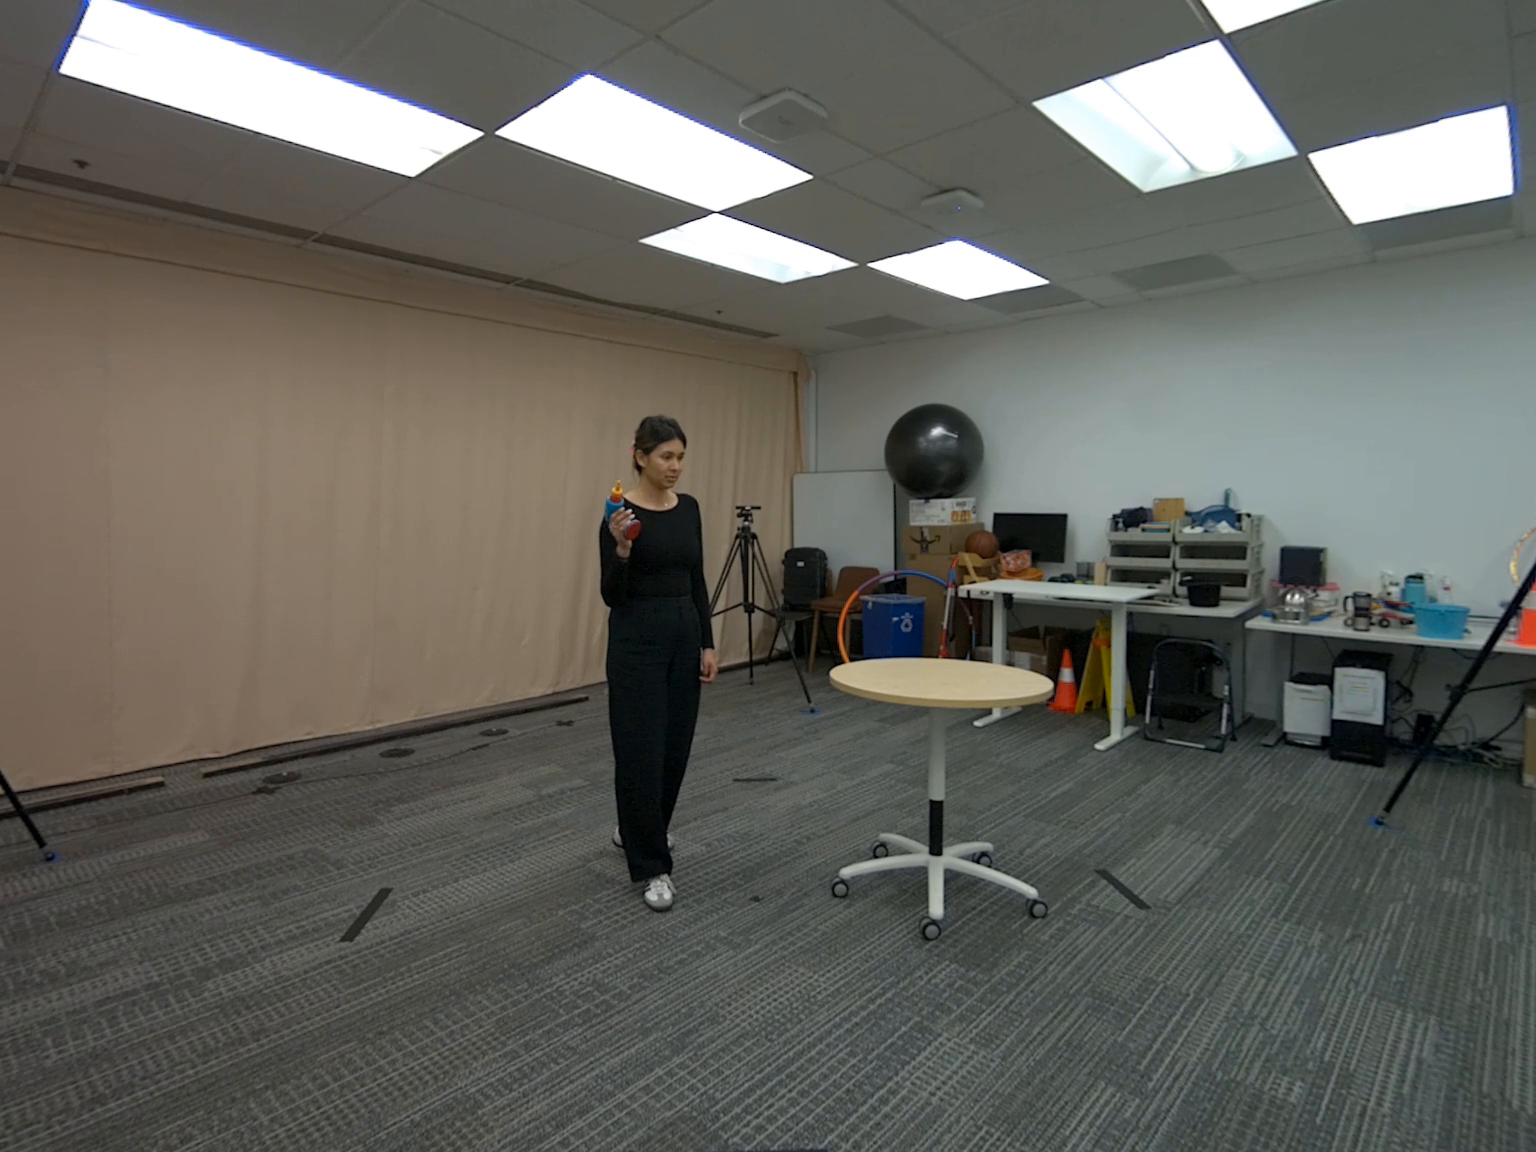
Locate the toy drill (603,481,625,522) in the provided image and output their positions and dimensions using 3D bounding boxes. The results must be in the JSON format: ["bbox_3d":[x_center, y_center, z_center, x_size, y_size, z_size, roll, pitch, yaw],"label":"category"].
[{"bbox_3d":[-0.467,-0.212,2.696,0.060,0.169,0.150,-18,52,-39],"label":"toy drill"}]
